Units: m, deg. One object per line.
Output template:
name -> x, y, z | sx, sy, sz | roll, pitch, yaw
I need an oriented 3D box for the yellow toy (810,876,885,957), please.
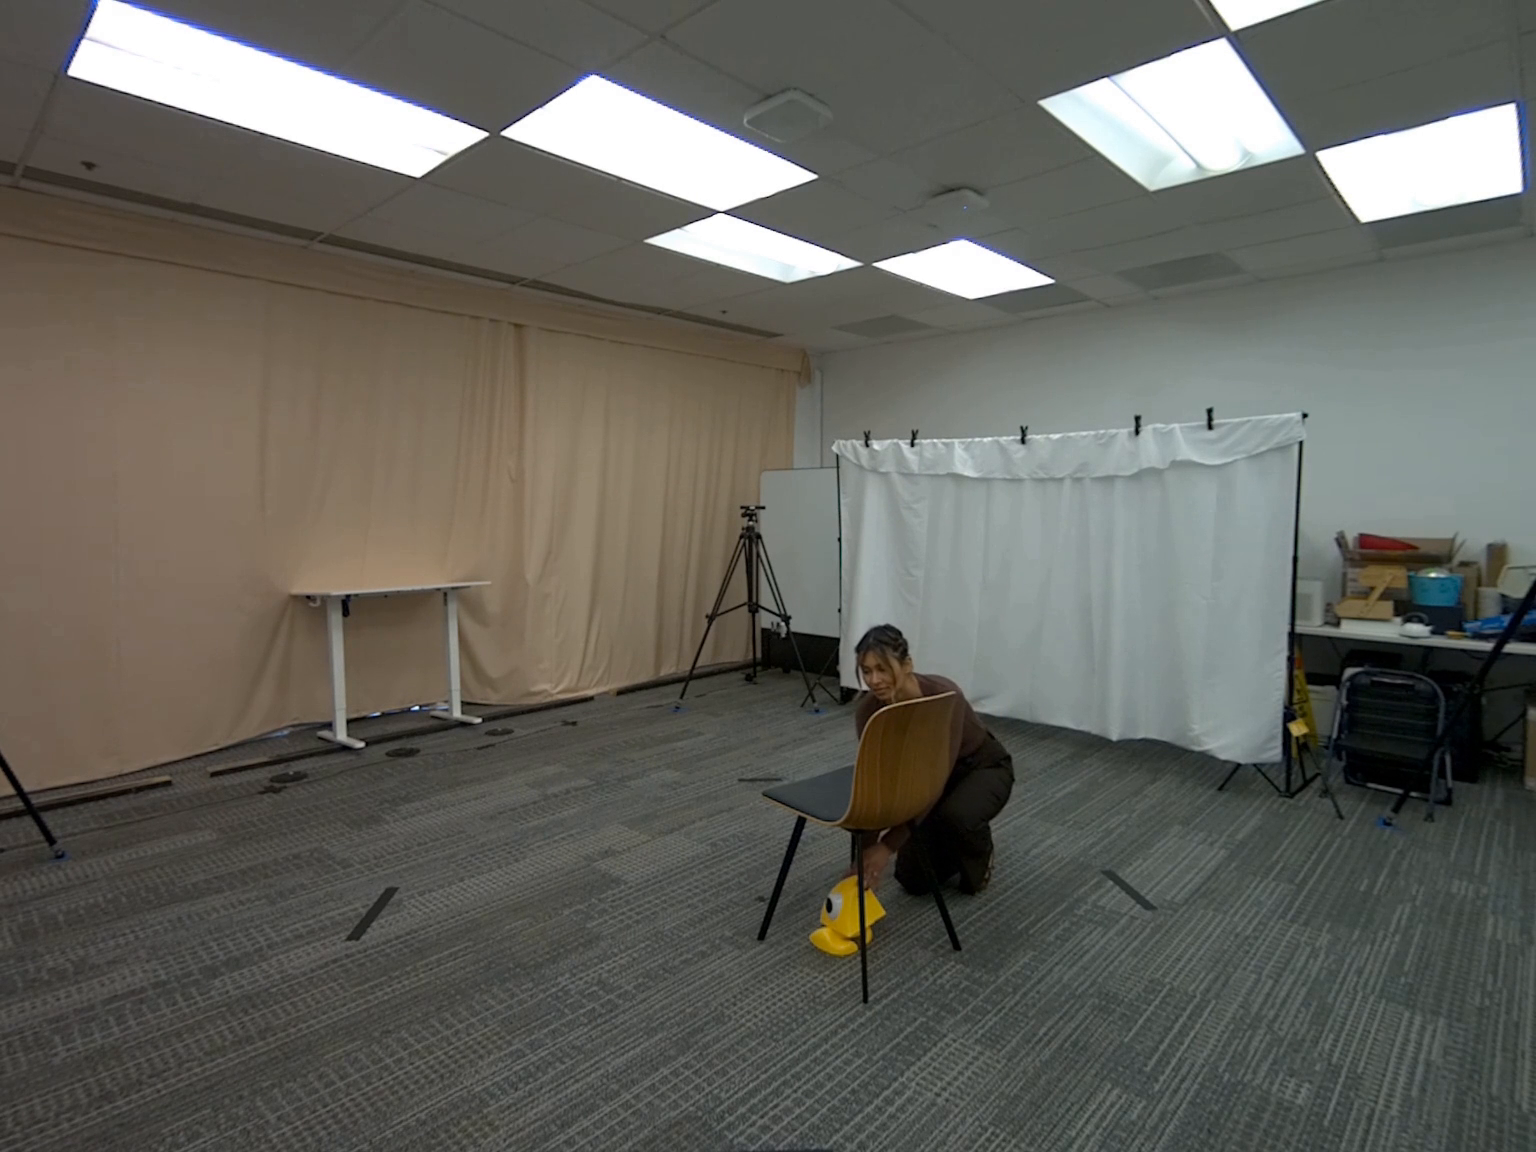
yellow toy -> 0.251, 1.053, 2.696 | 0.199, 0.230, 0.198 | 2, 3, 42
